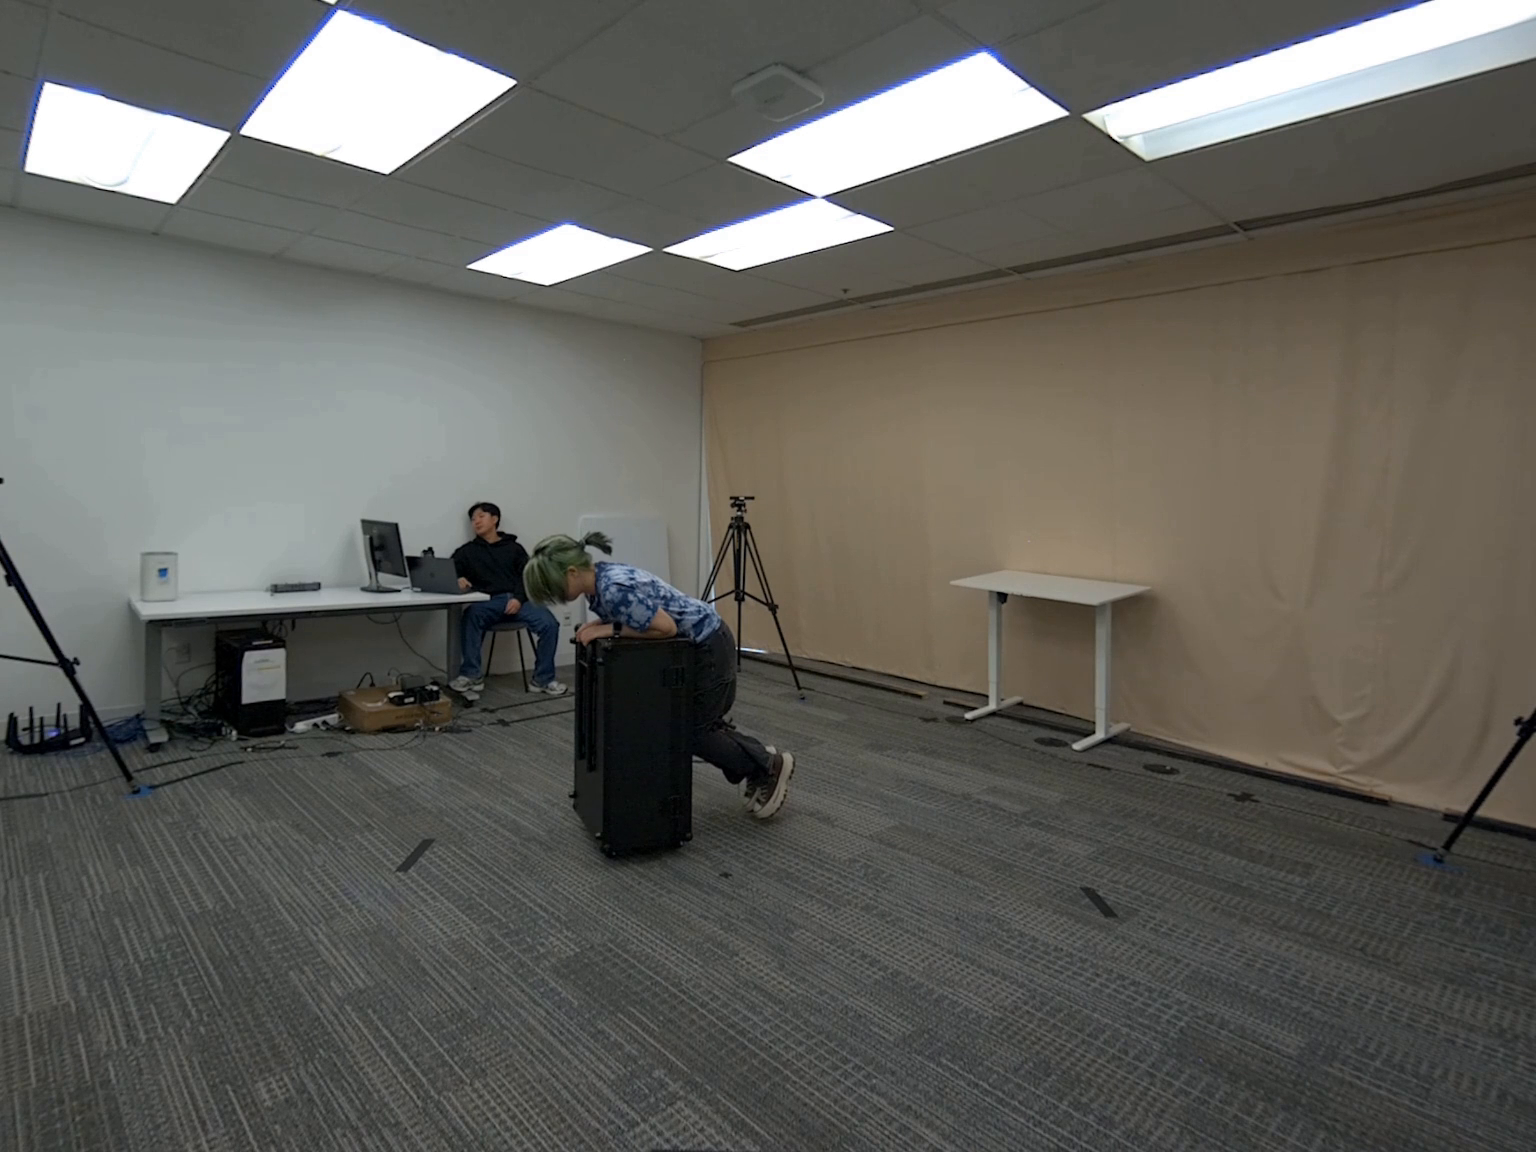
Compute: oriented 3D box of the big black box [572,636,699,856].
[{"bbox_3d":[-0.569,0.598,3.361,0.389,0.859,0.532,-1,4,-25],"label":"big black box"}]
